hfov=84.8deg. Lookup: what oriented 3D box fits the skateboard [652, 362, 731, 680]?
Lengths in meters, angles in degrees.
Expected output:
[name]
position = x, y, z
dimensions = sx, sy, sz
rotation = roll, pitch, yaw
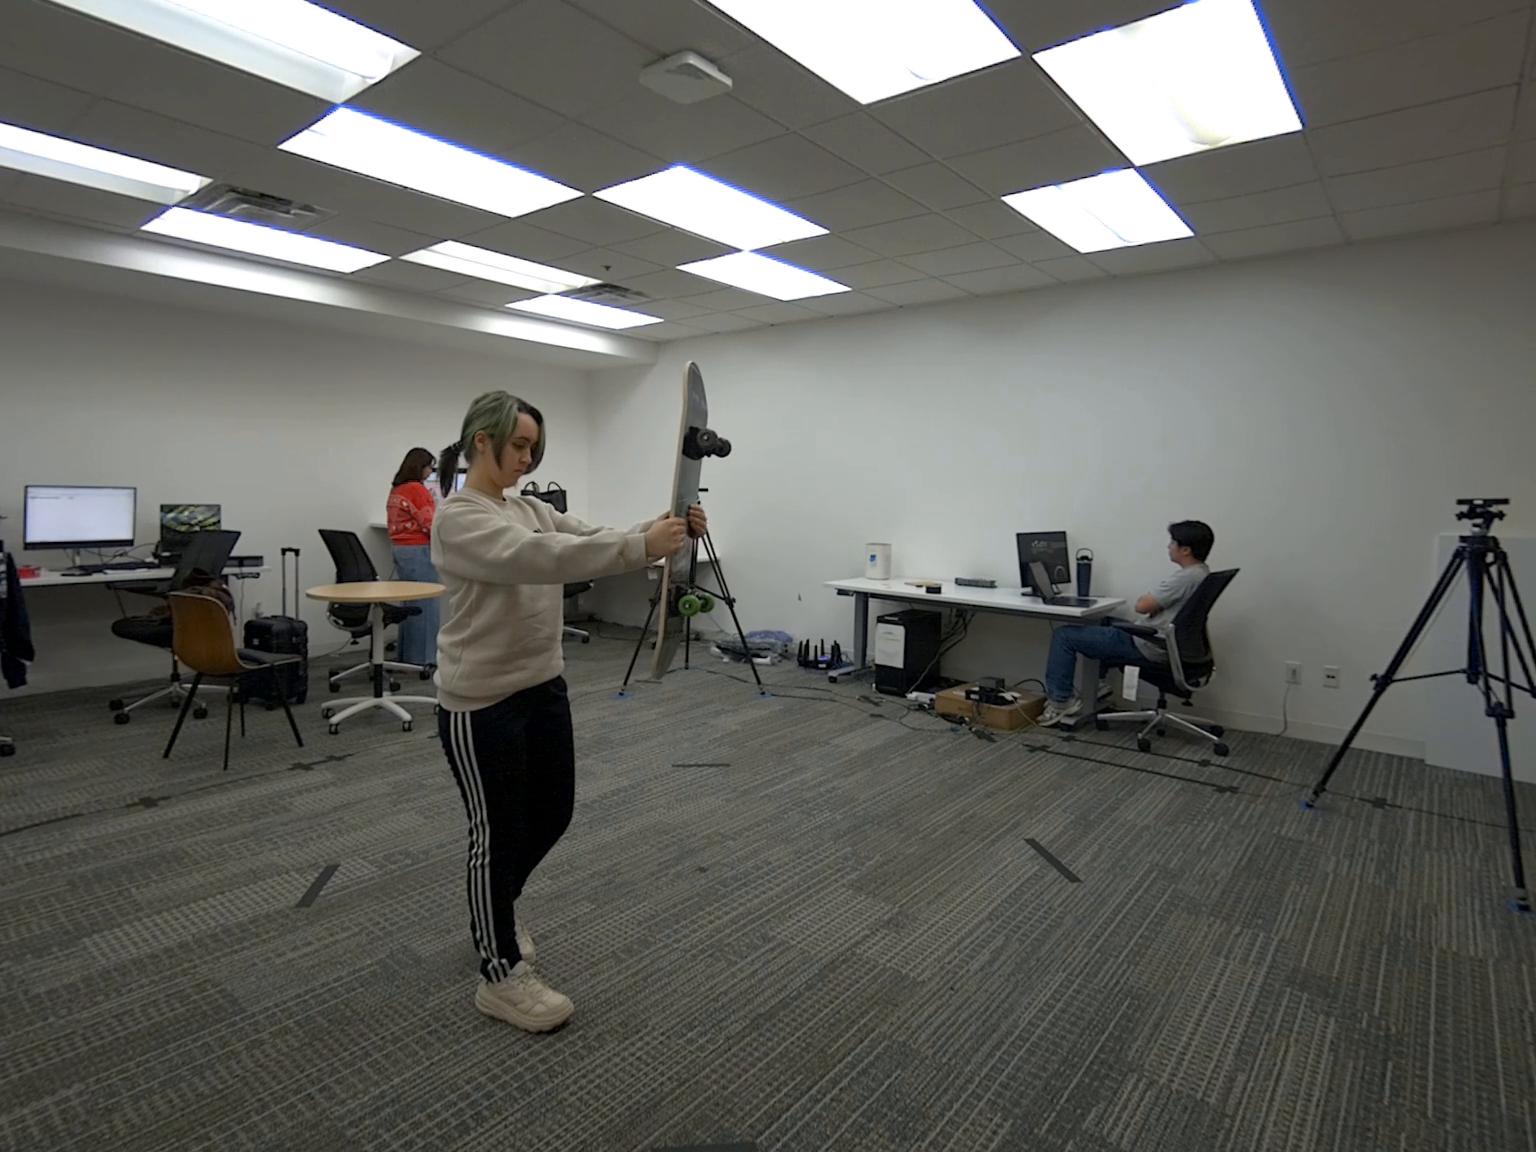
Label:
[skateboard]
position = -0.191, -0.130, 2.089
dimensions = 0.112, 0.786, 0.190
rotation = 6, -1, 13
